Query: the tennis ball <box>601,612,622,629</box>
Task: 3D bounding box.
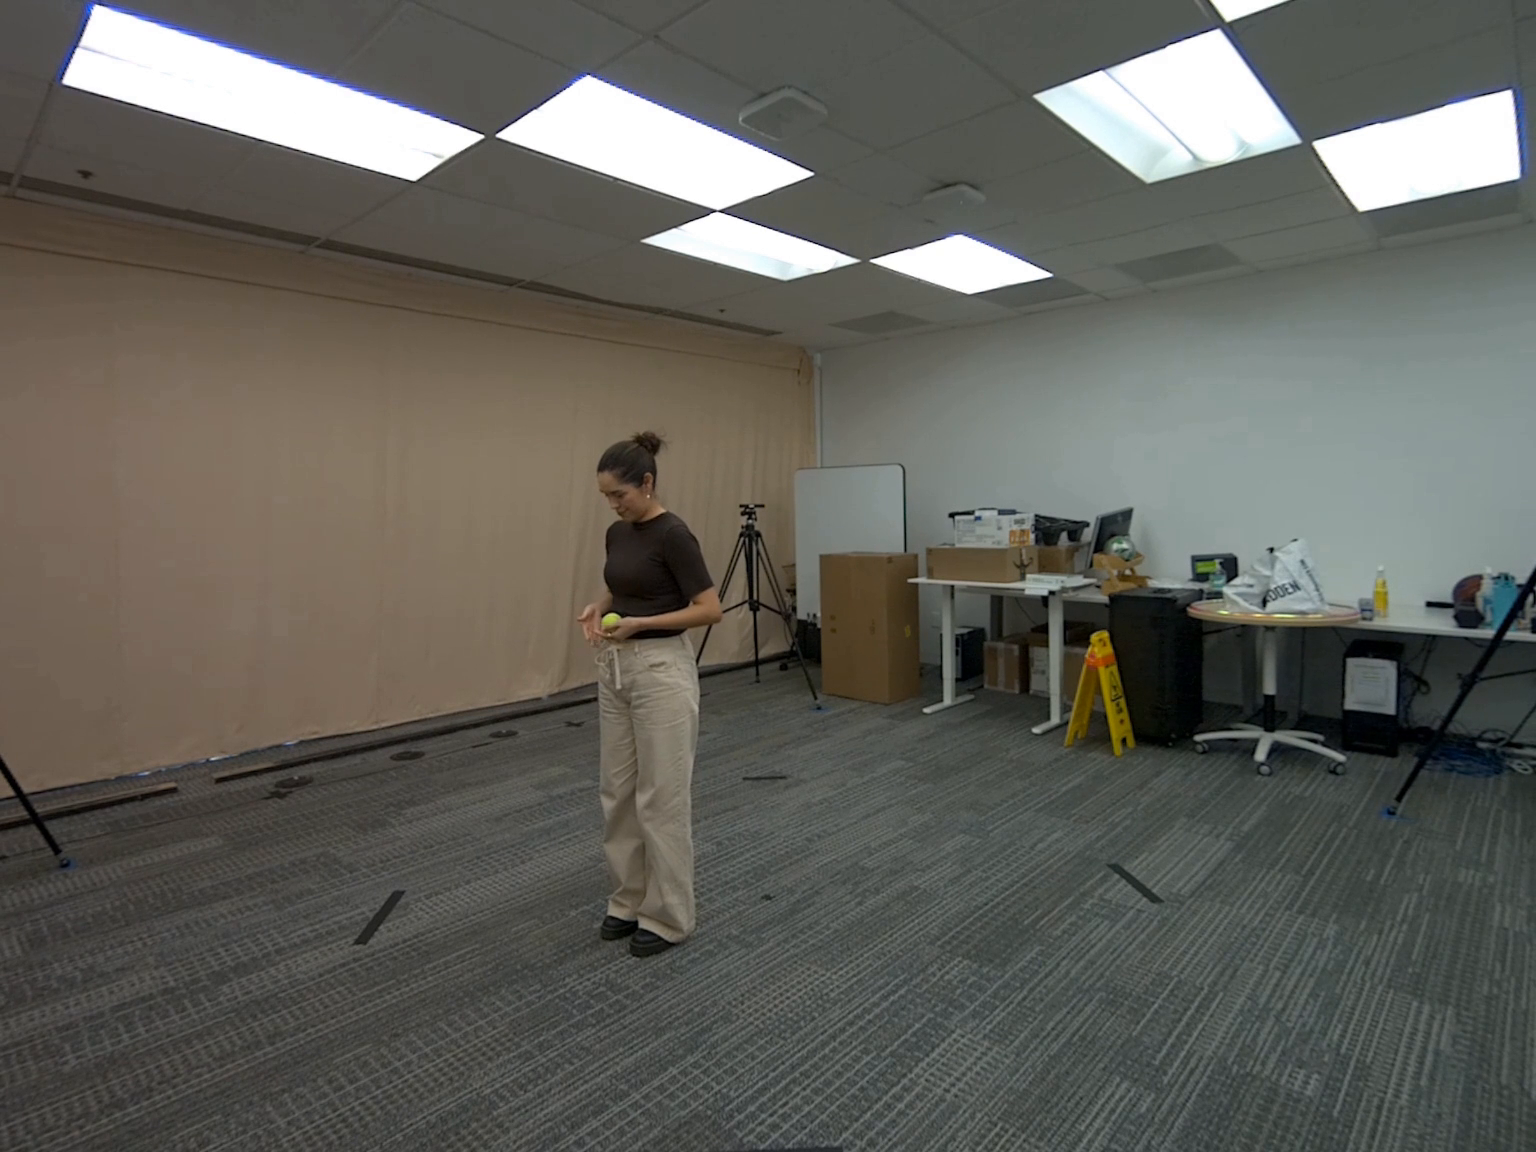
[{"bbox_3d":[-0.487,0.143,2.612,0.066,0.066,0.067,-1,4,-2],"label":"tennis ball"}]
